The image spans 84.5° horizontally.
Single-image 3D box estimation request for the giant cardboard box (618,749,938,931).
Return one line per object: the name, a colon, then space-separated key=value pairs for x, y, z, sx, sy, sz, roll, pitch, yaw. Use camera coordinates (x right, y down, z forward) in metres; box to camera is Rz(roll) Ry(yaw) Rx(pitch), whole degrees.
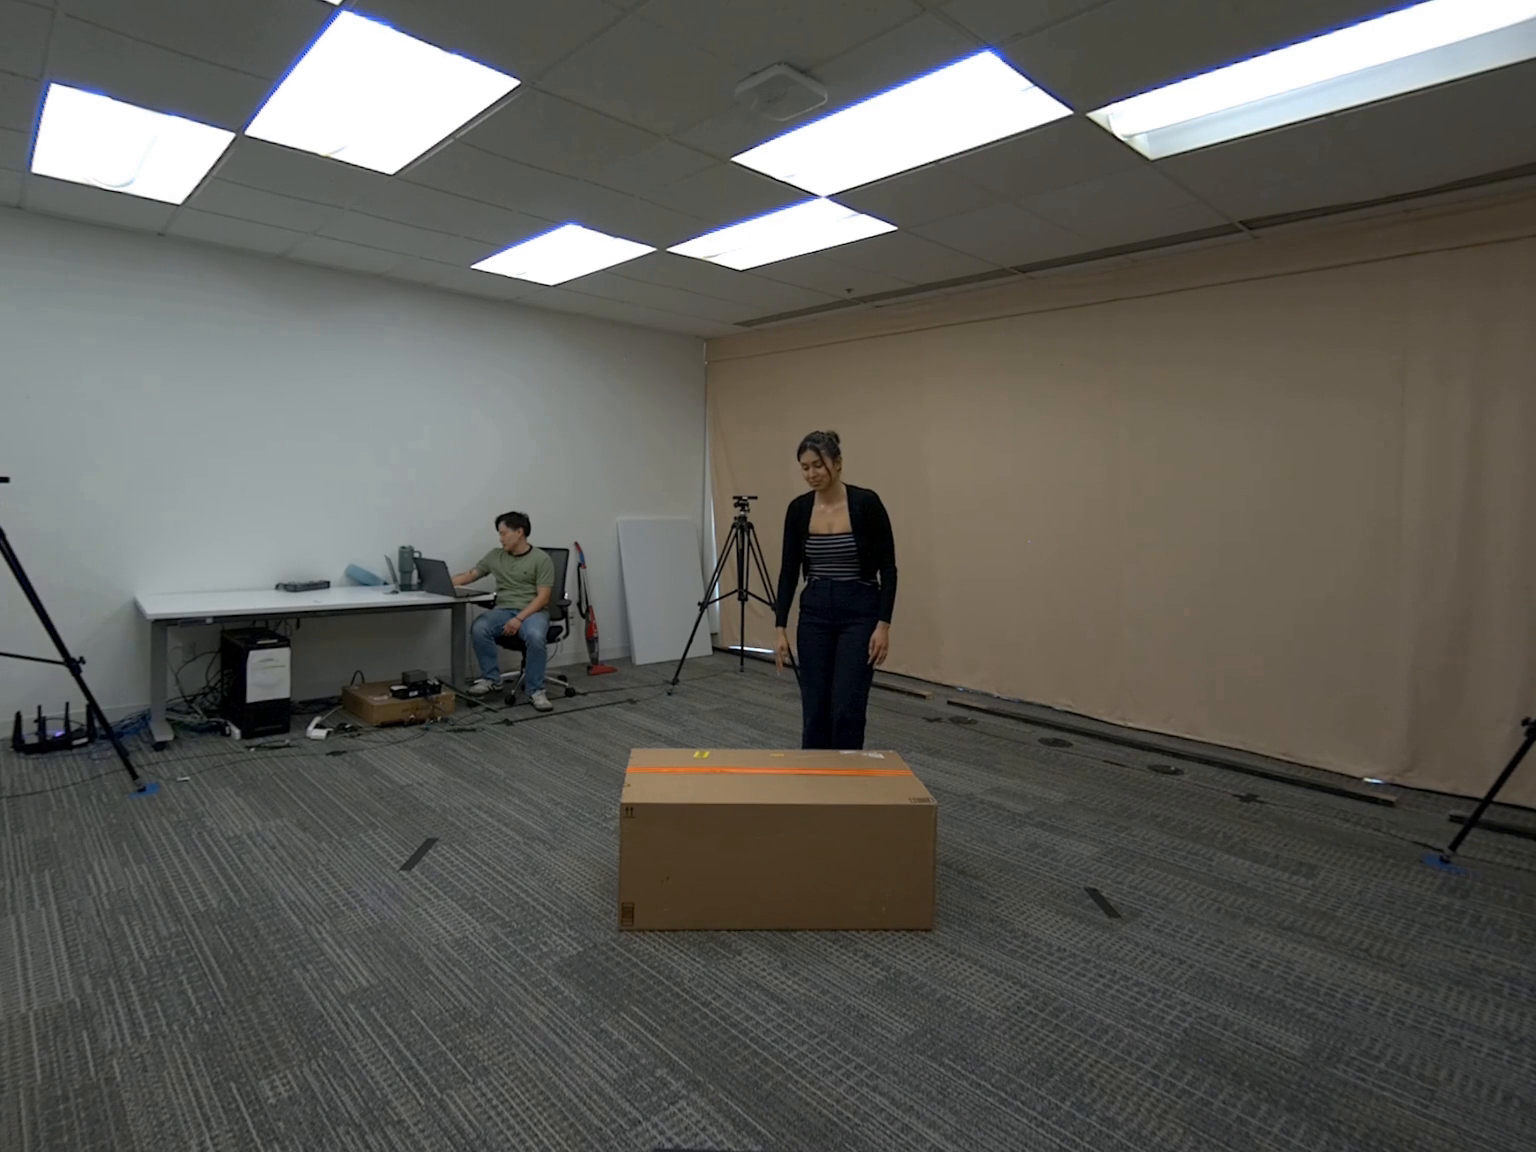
giant cardboard box: x=0.000 y=0.900 z=2.973 sx=1.023 sy=0.425 sz=0.580 roll=1 pitch=4 yaw=-4
